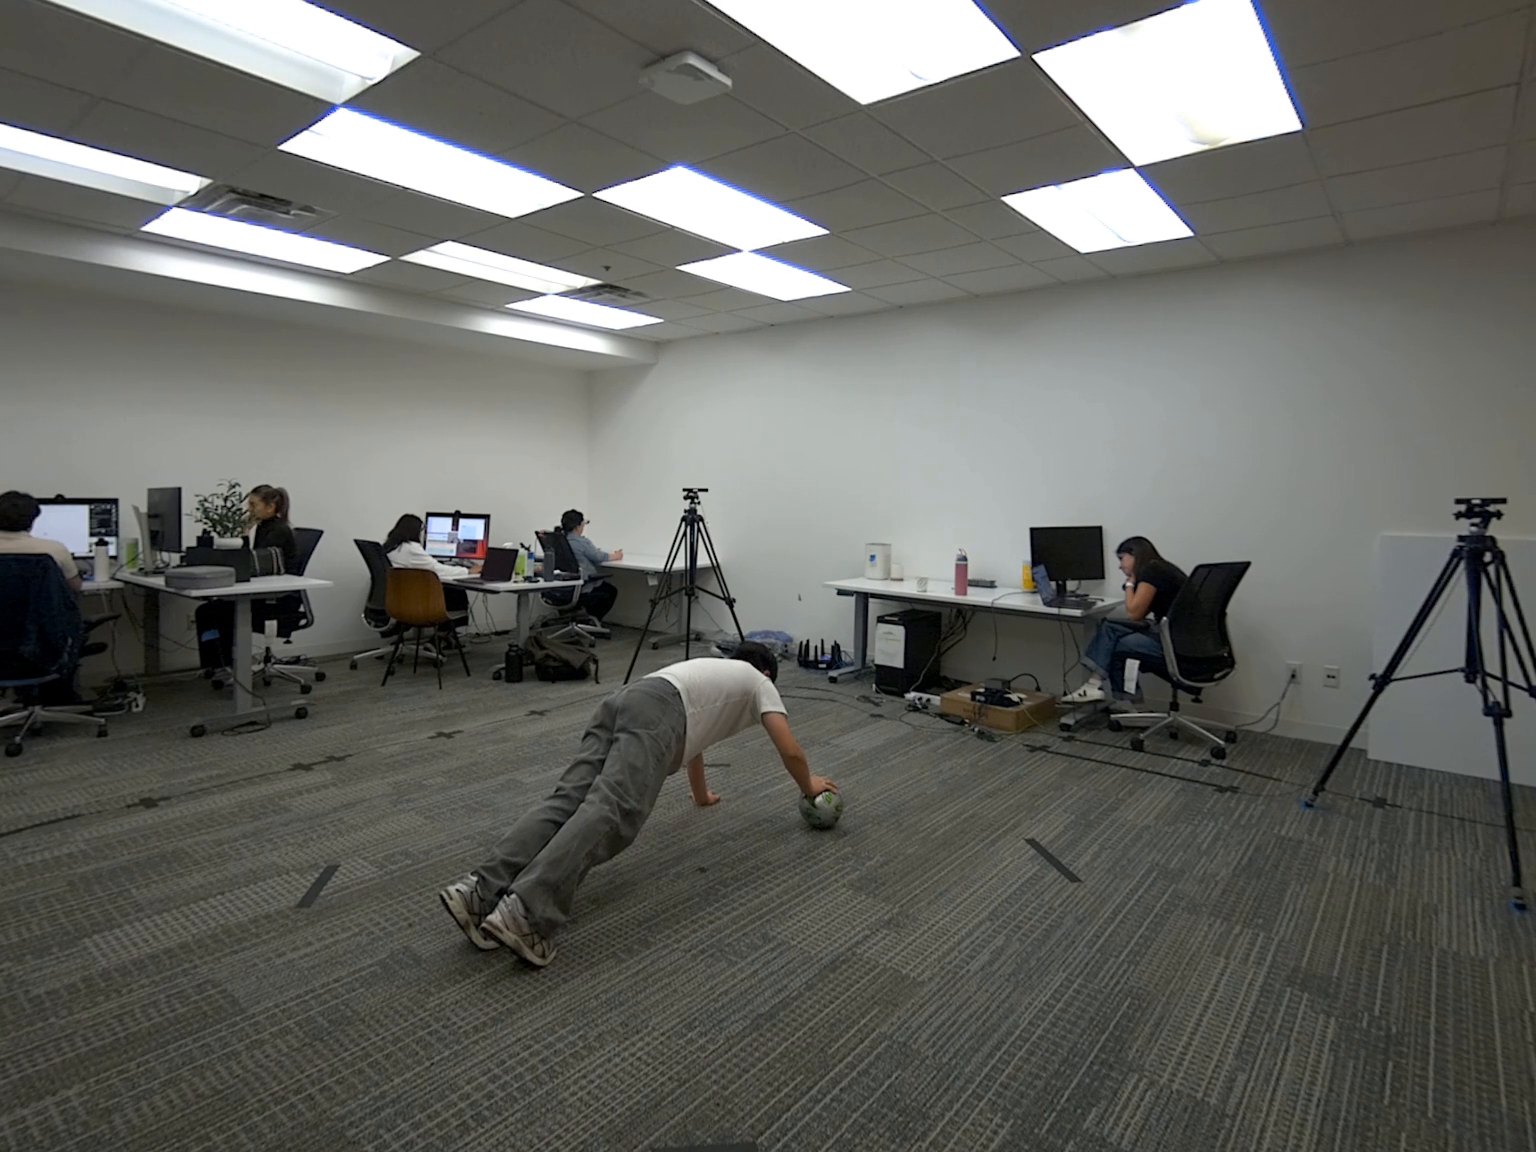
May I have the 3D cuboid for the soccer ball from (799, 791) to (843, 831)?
[{"bbox_3d":[0.220,0.939,3.543,0.187,0.187,0.188,1,4,-2],"label":"soccer ball"}]
